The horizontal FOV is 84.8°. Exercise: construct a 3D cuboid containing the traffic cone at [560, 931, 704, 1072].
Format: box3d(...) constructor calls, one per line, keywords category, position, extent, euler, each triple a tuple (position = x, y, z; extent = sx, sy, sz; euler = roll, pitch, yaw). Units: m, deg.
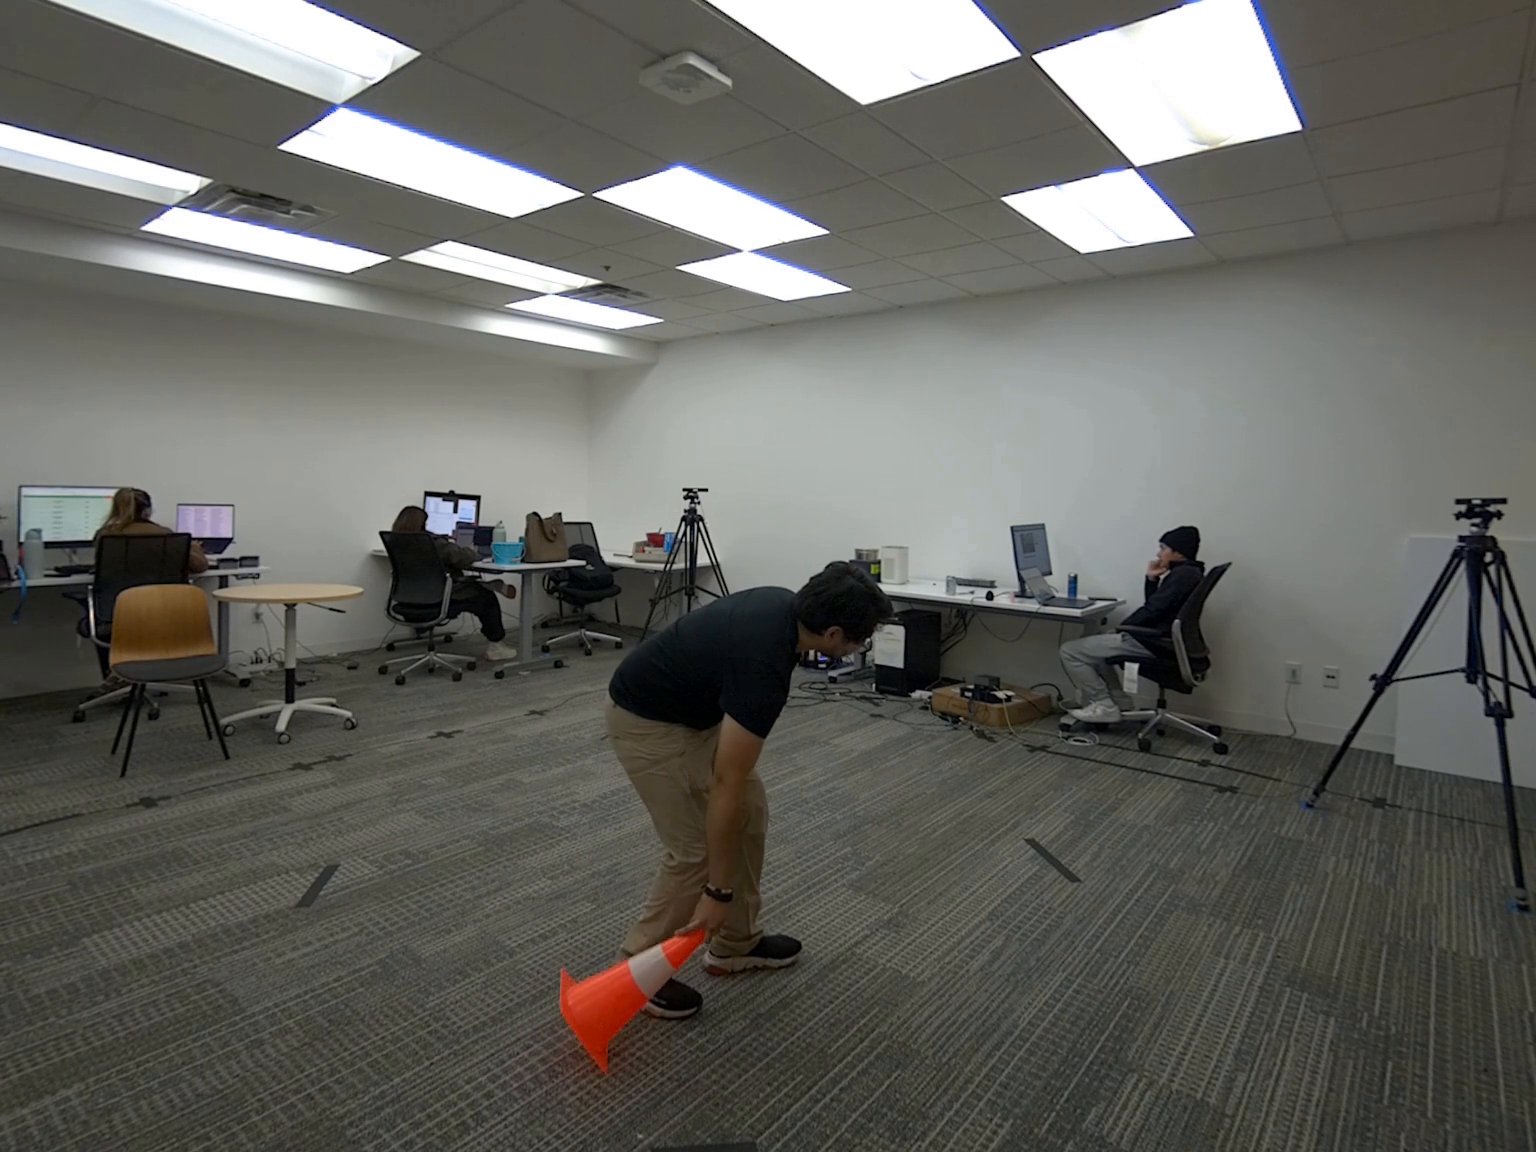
box3d(category="traffic cone", position=(-0.304, 0.977, 2.104), extent=(0.383, 0.203, 0.206), euler=(-35, 8, -5))
